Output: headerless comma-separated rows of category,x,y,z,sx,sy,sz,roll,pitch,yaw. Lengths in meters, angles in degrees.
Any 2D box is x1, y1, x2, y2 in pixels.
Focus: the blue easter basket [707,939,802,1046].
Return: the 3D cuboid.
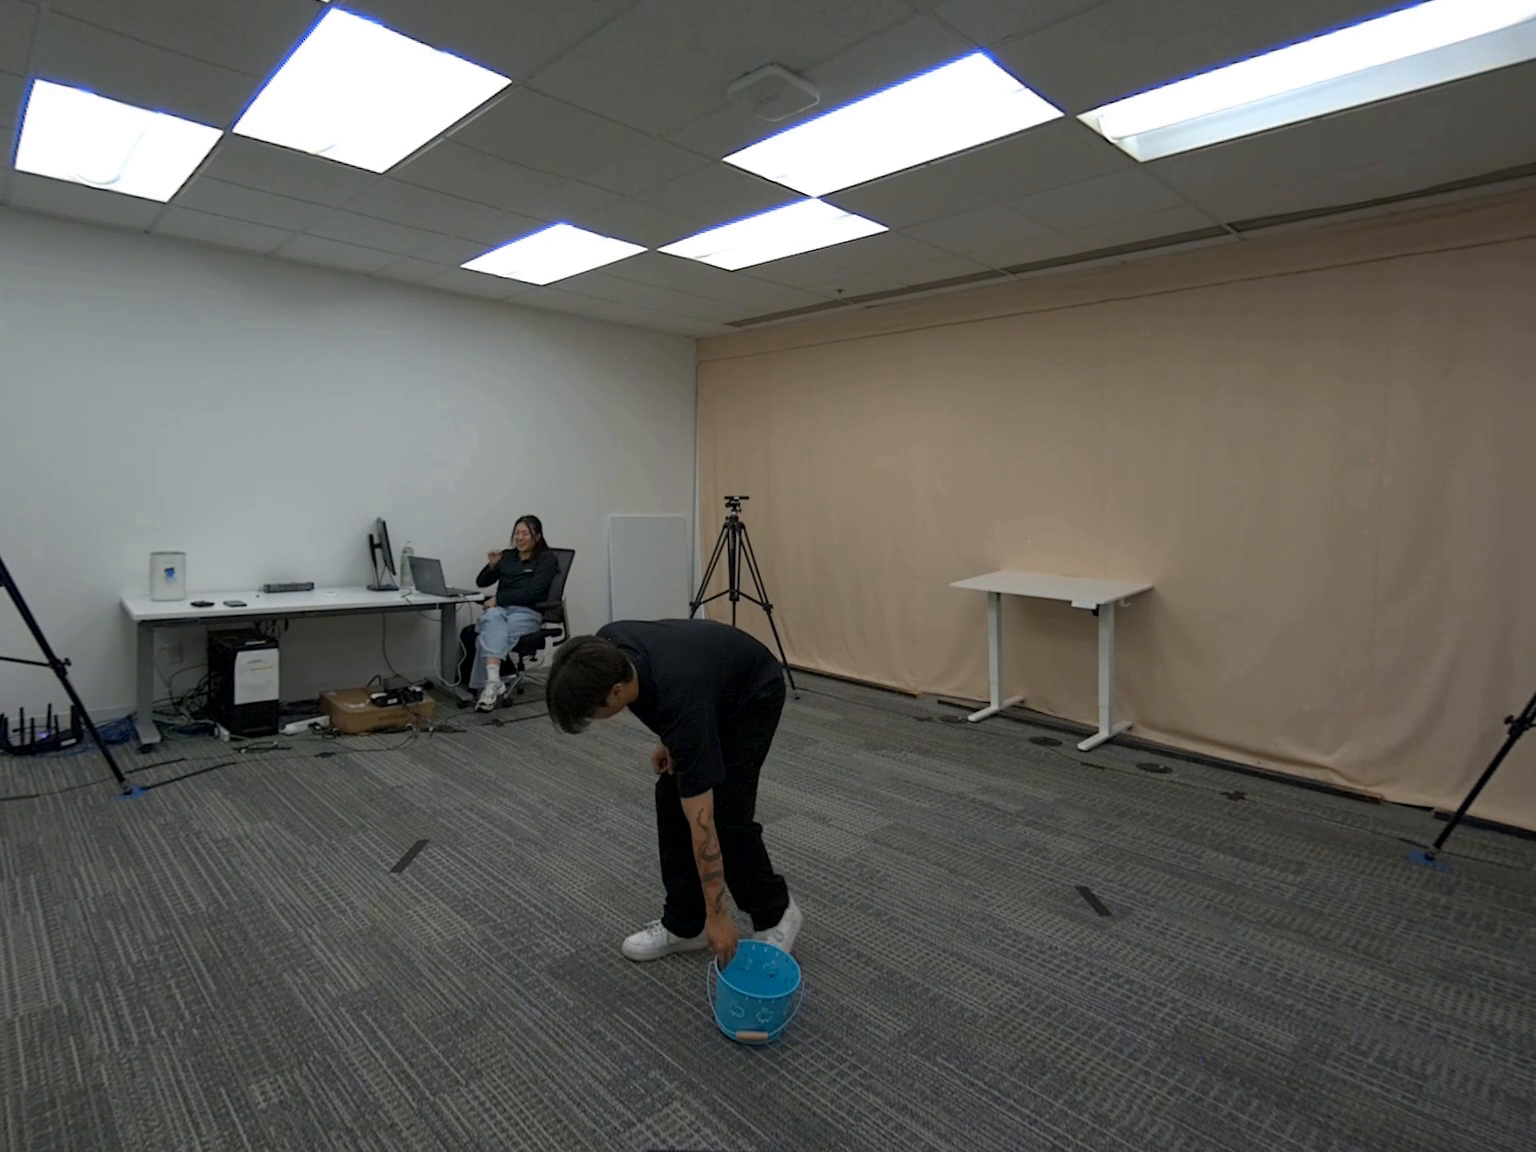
blue easter basket,-0.046,1.104,2.216,0.243,0.155,0.245,8,8,-3
